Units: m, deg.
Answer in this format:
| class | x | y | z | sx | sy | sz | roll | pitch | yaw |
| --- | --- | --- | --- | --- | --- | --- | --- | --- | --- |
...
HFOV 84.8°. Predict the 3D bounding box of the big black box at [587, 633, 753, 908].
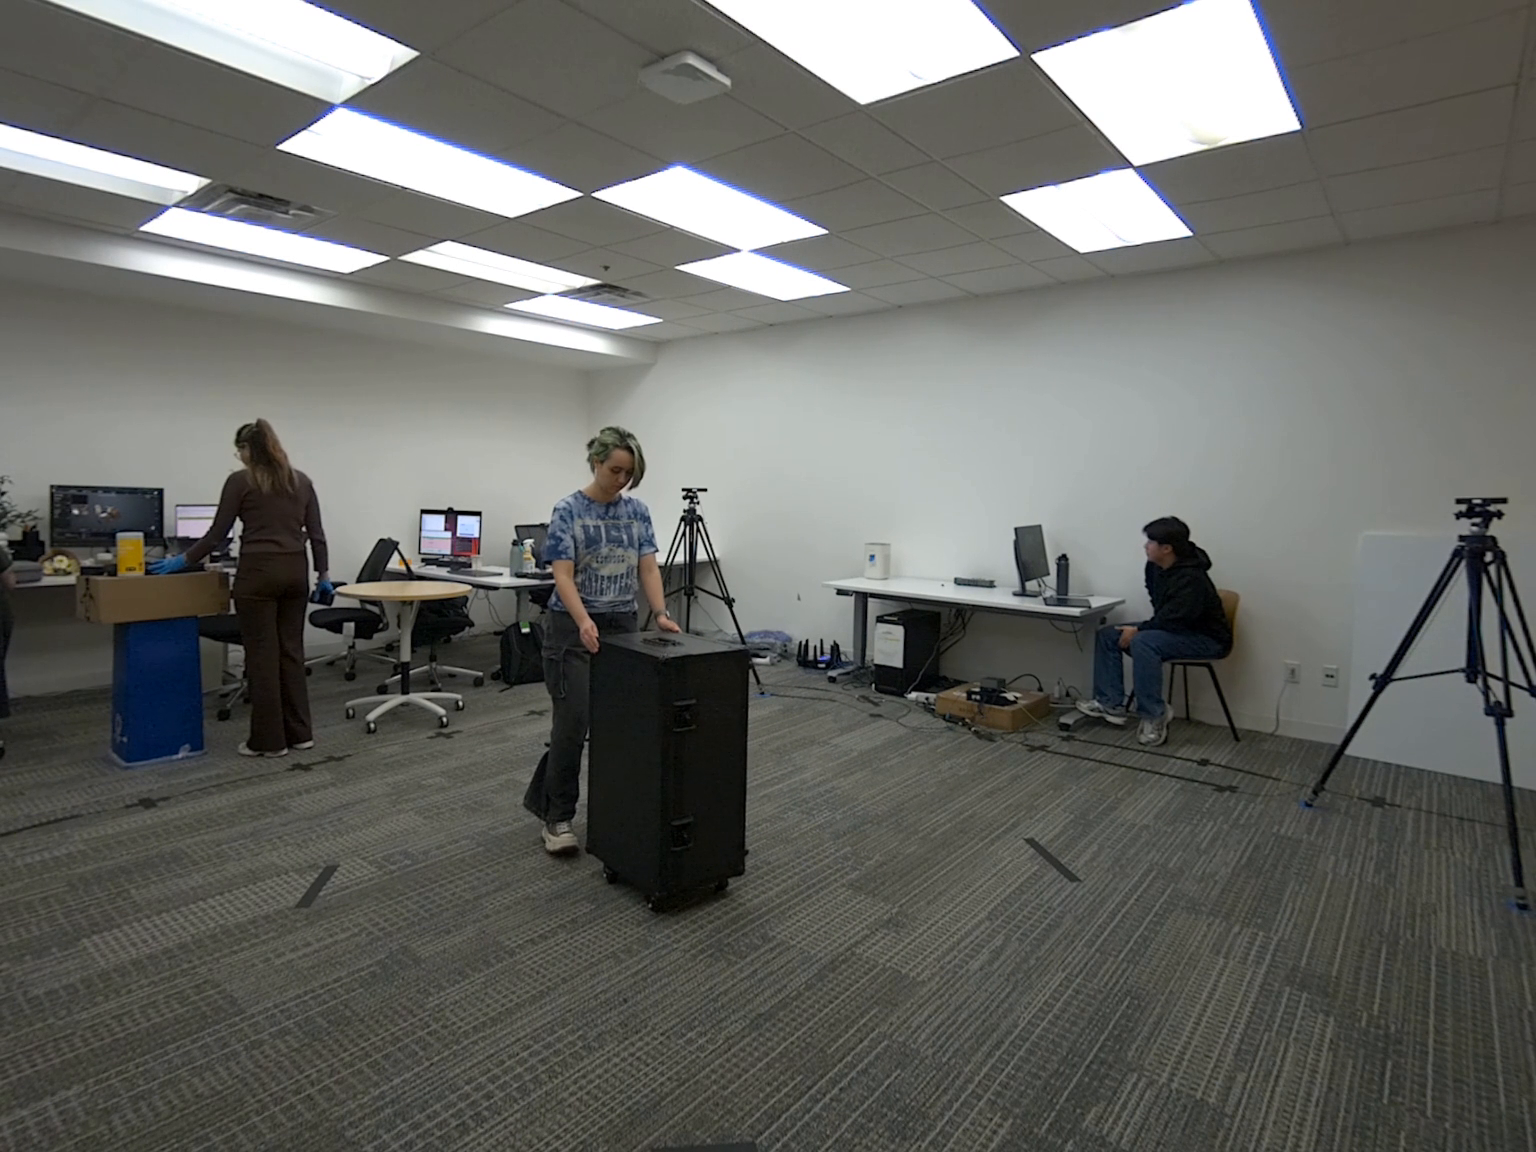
| class | x | y | z | sx | sy | sz | roll | pitch | yaw |
| --- | --- | --- | --- | --- | --- | --- | --- | --- | --- |
| big black box | -0.366 | 0.656 | 2.992 | 0.384 | 0.861 | 0.538 | 1 | 2 | -39 |
